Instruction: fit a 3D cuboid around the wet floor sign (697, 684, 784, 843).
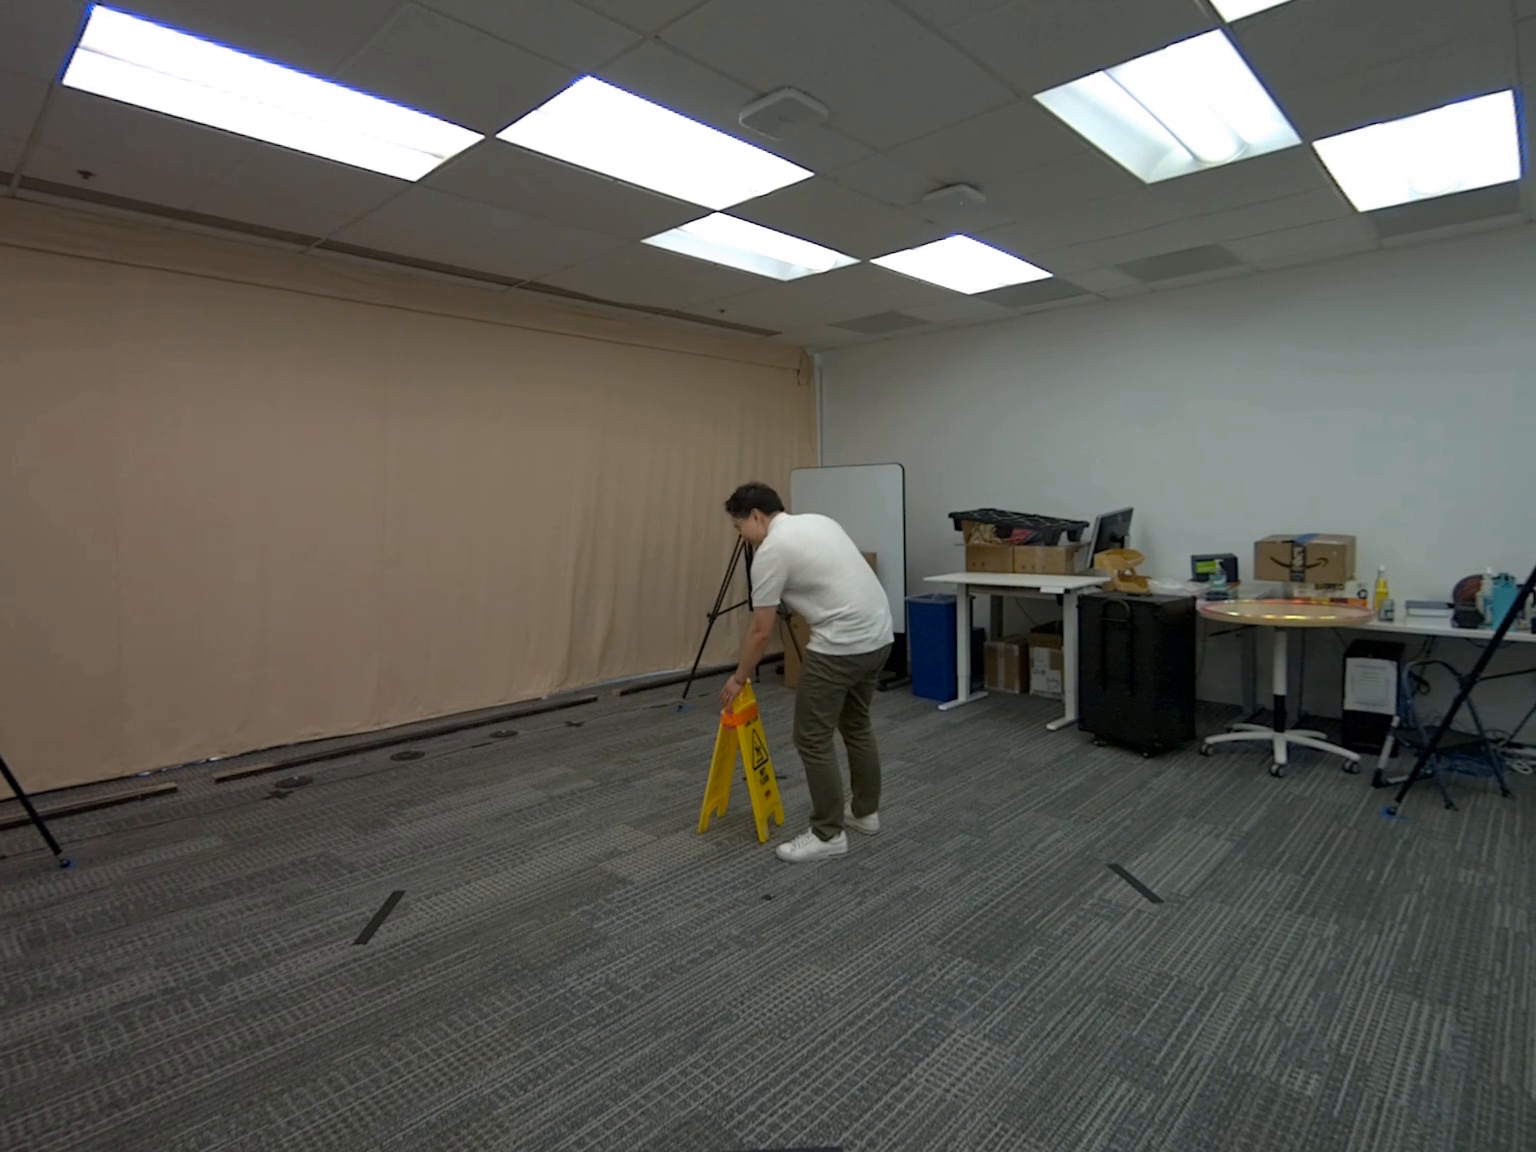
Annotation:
[{"bbox_3d":[-0.123,0.766,3.624,0.296,0.645,0.276,-1,2,23],"label":"wet floor sign"}]
